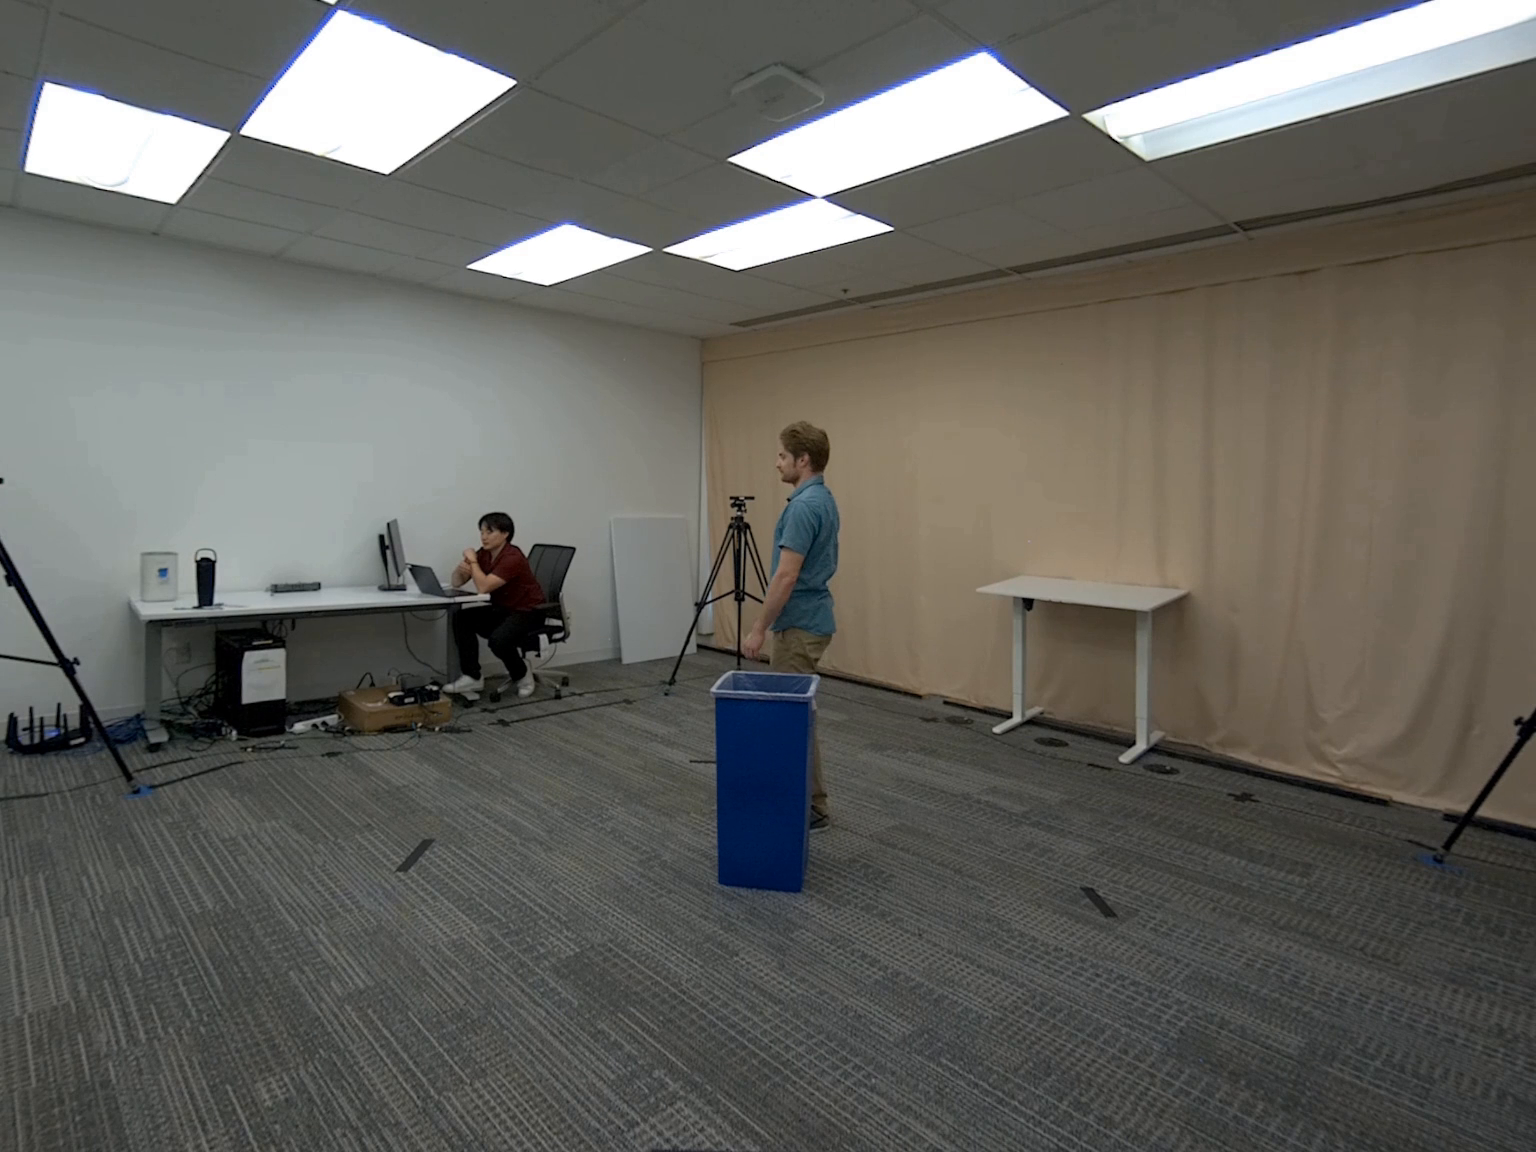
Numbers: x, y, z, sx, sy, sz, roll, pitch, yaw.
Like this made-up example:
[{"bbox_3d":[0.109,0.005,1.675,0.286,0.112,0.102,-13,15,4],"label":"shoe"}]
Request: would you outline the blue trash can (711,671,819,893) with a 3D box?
[{"bbox_3d":[-0.020,0.746,3.134,0.381,0.711,0.372,1,4,9],"label":"blue trash can"}]
